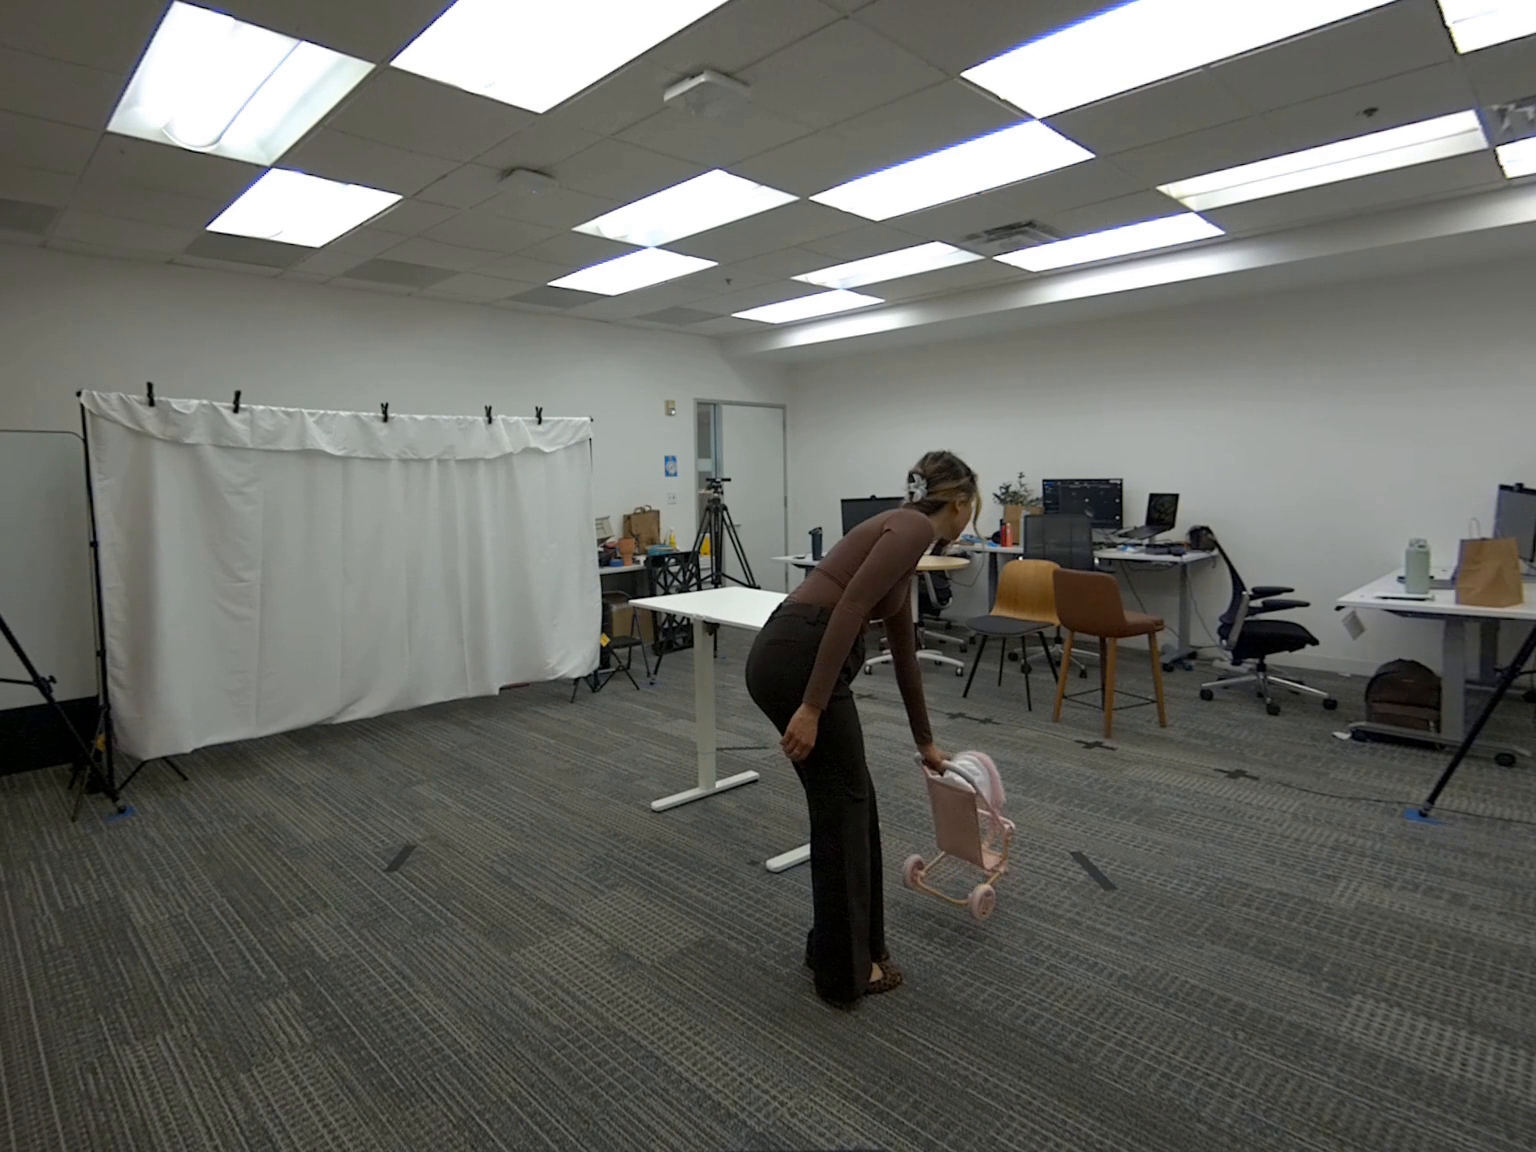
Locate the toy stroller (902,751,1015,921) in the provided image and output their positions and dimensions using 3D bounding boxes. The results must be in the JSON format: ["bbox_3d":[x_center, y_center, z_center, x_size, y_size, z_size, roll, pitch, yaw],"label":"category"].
[{"bbox_3d":[0.636,0.793,2.696,0.333,0.531,0.290,-8,9,-38],"label":"toy stroller"}]
